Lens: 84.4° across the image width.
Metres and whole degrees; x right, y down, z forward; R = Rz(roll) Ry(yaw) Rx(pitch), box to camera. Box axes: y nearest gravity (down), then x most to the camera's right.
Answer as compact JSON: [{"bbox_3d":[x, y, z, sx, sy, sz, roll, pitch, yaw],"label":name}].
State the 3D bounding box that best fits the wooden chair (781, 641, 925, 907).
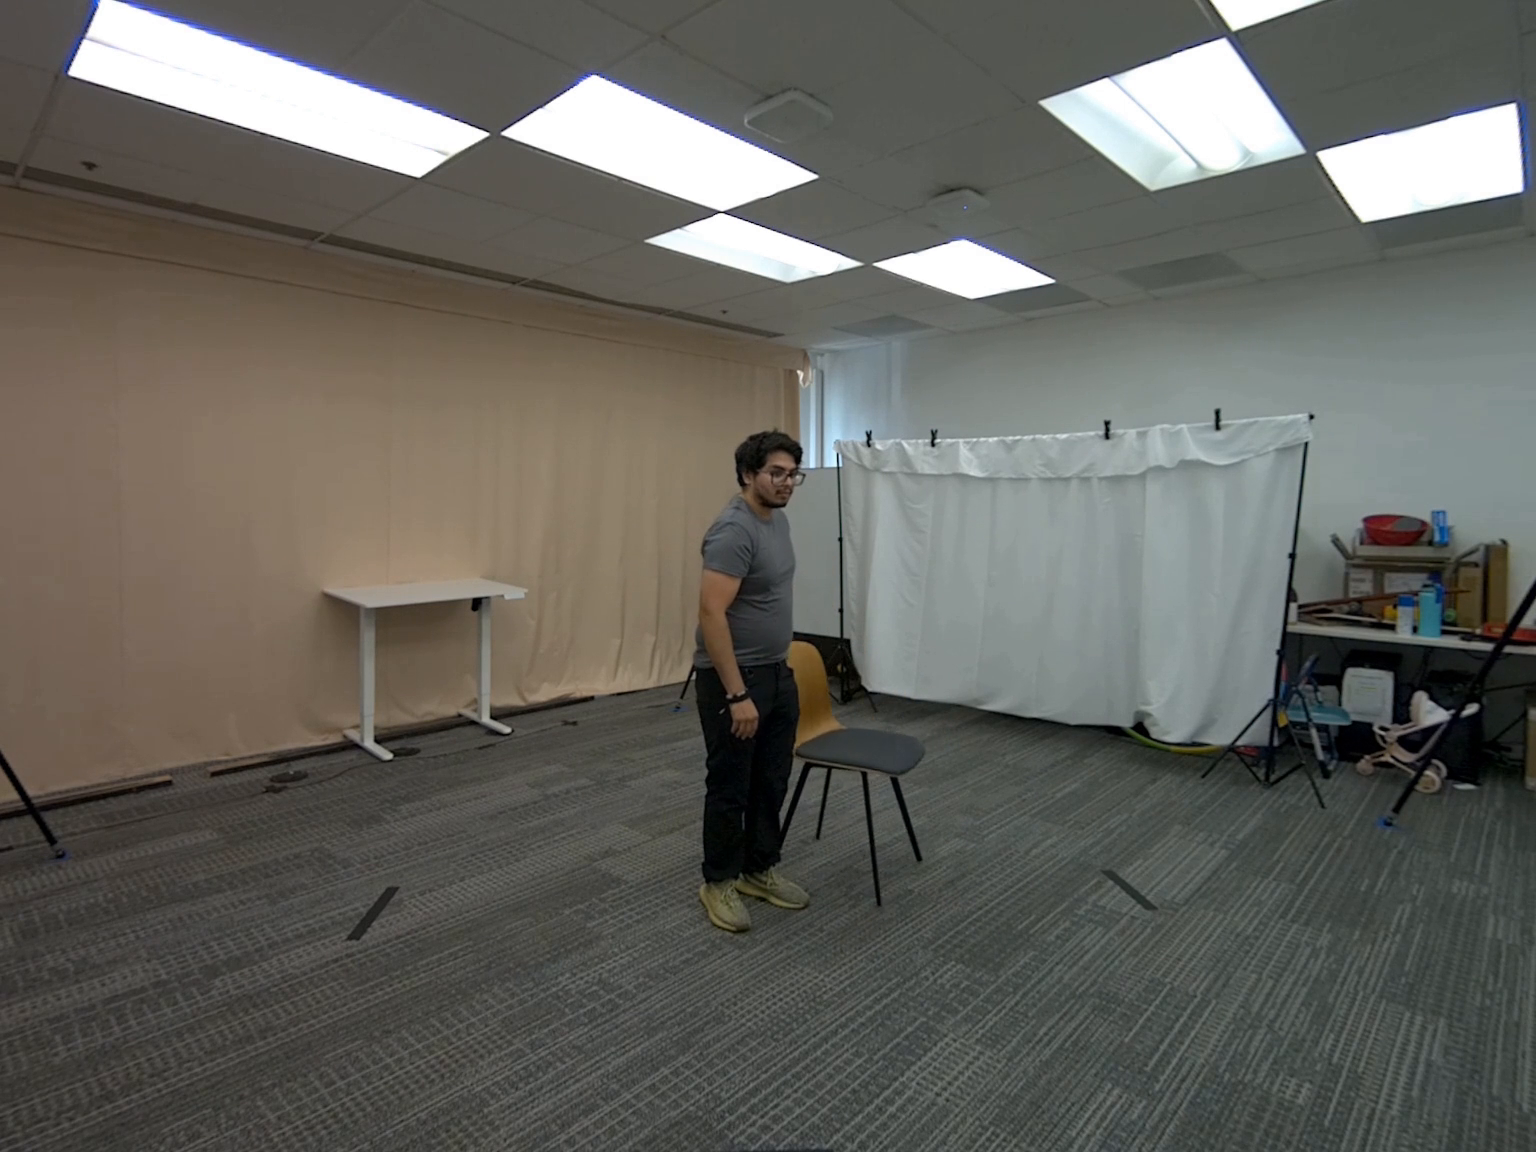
[{"bbox_3d":[0.310,0.696,3.192,0.537,0.877,0.465,-3,1,30],"label":"wooden chair"}]
